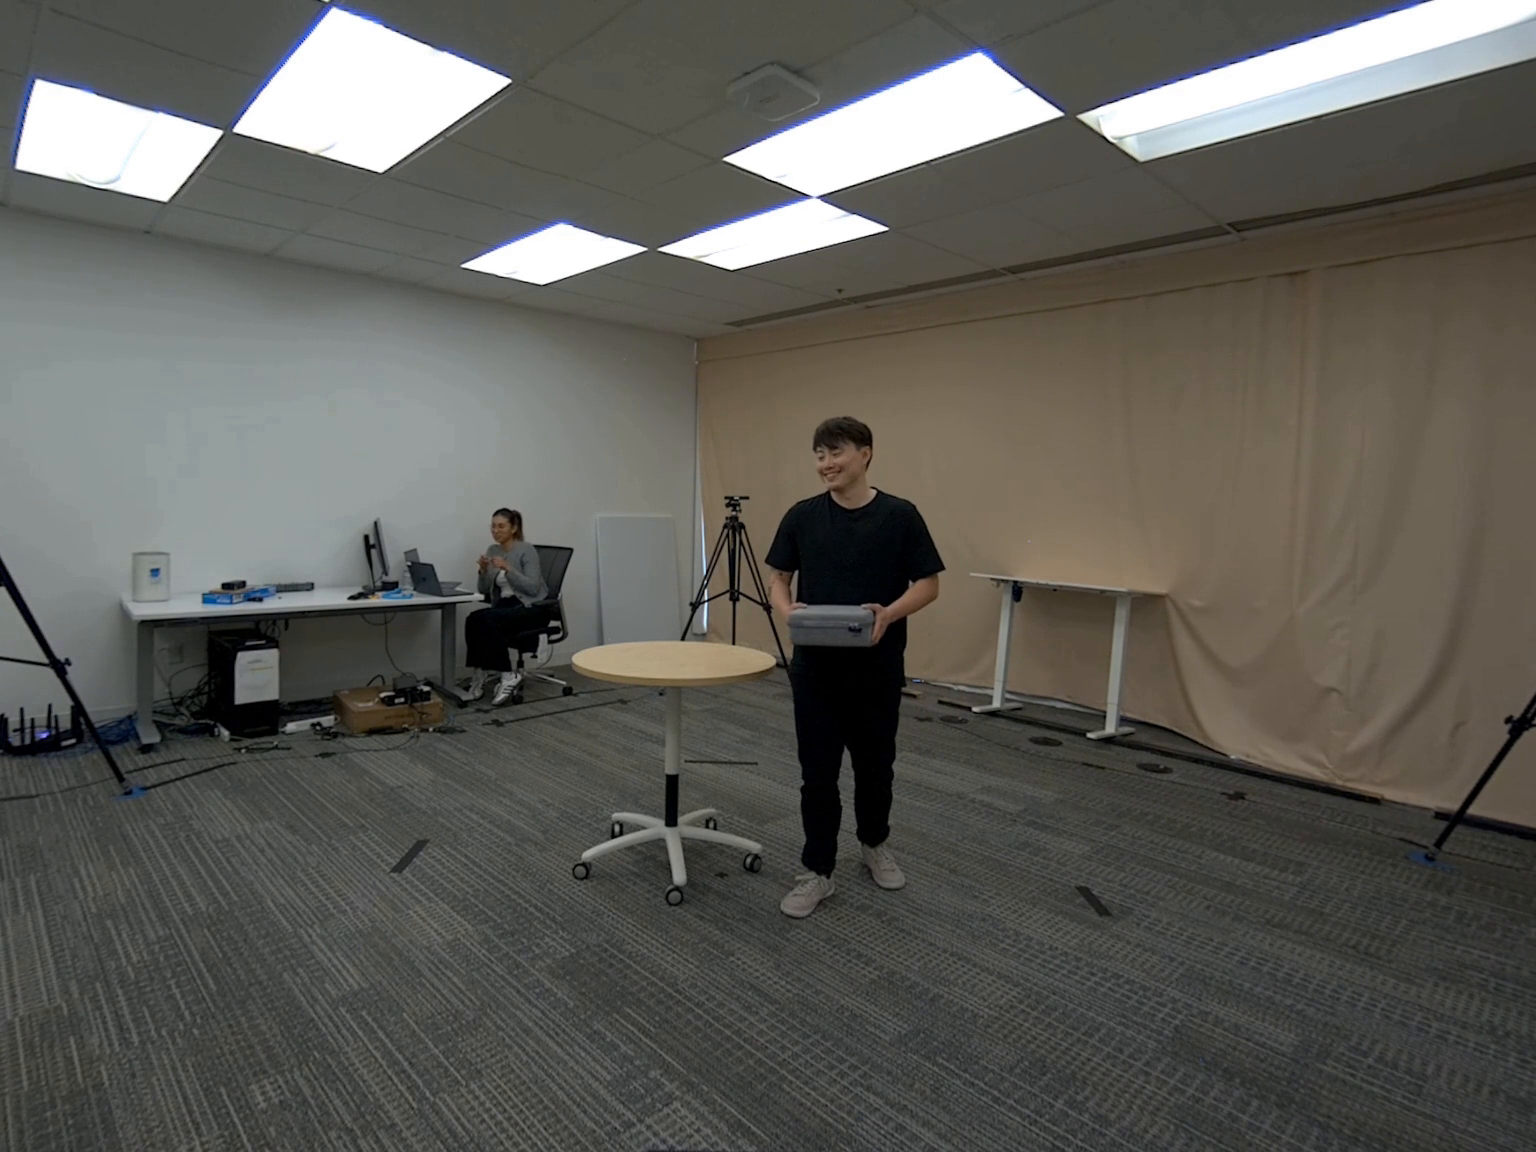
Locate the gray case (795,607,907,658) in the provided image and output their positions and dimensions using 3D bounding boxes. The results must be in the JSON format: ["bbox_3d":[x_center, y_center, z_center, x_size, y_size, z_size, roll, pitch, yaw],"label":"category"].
[{"bbox_3d":[0.251,0.174,2.628,0.254,0.104,0.265,-1,8,-16],"label":"gray case"}]
